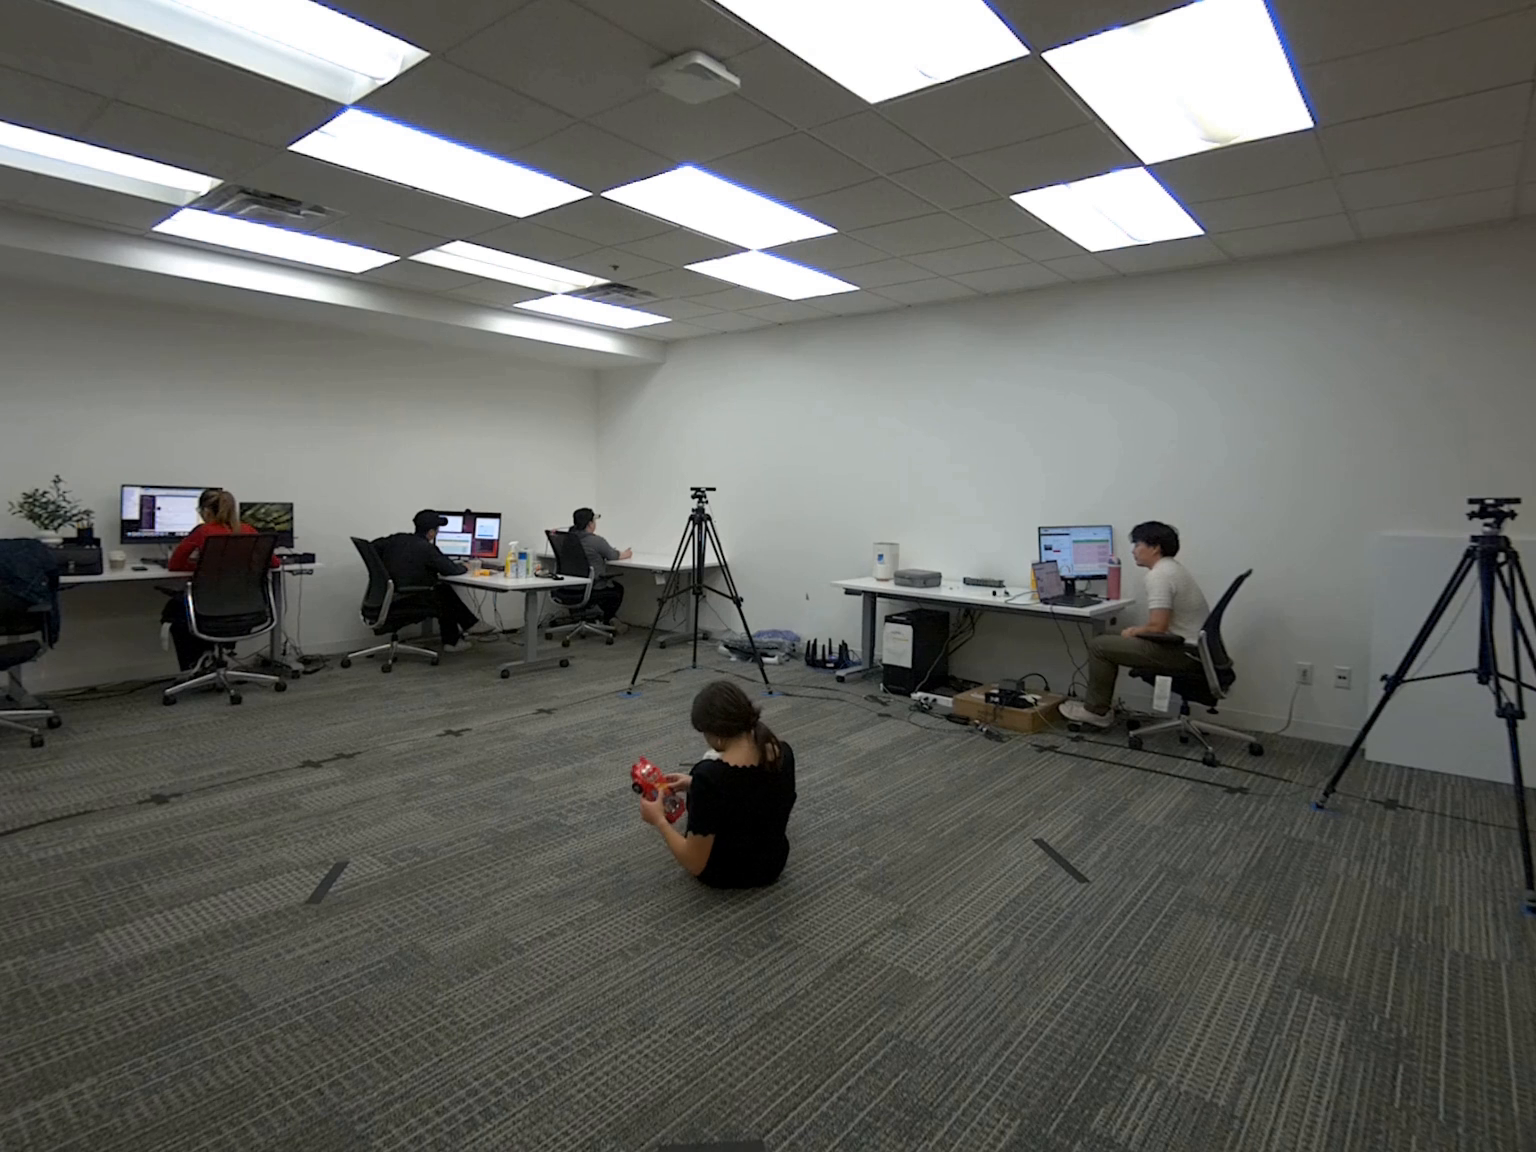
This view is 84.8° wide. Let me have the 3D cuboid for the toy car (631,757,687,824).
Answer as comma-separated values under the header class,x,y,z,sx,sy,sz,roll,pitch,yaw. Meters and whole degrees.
class,x,y,z,sx,sy,sz,roll,pitch,yaw
toy car,-0.400,0.775,3.079,0.084,0.254,0.129,-32,1,37
